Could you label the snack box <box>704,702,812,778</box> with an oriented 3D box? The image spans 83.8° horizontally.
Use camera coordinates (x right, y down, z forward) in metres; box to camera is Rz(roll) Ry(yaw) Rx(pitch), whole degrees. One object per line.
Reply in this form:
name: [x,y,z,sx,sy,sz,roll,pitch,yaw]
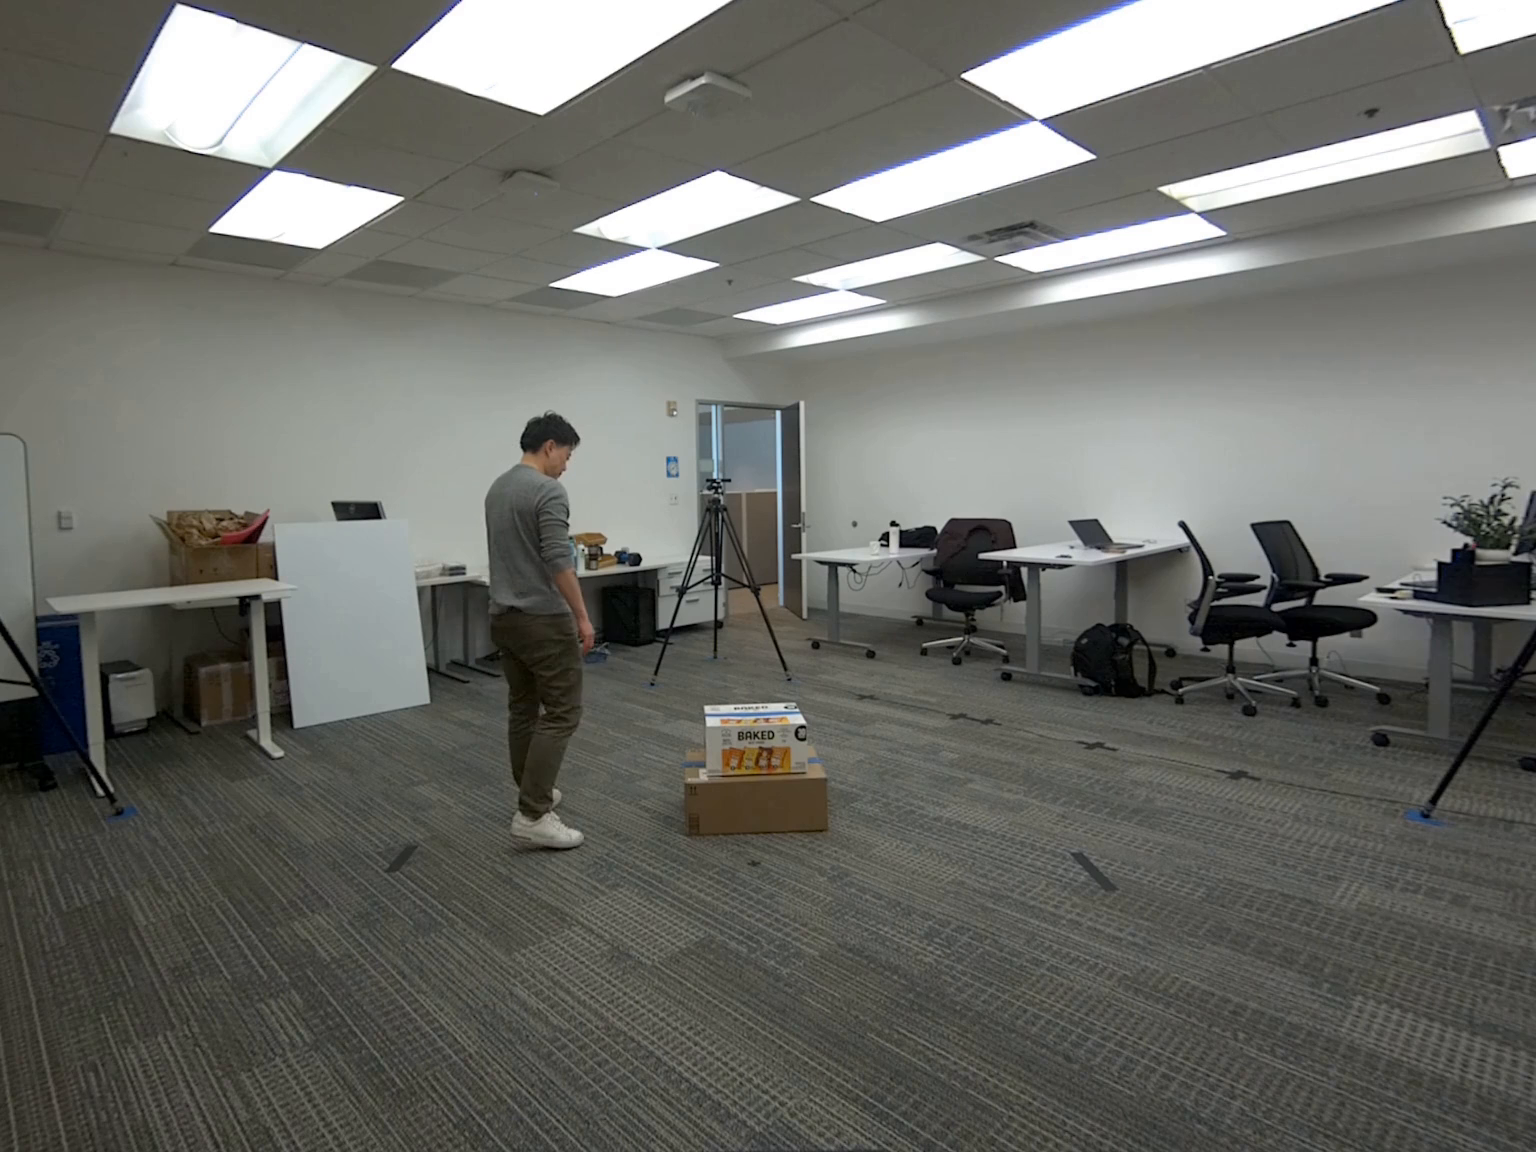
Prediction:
snack box: [-0.063,0.671,3.560,0.403,0.205,0.343,-1,5,-5]
